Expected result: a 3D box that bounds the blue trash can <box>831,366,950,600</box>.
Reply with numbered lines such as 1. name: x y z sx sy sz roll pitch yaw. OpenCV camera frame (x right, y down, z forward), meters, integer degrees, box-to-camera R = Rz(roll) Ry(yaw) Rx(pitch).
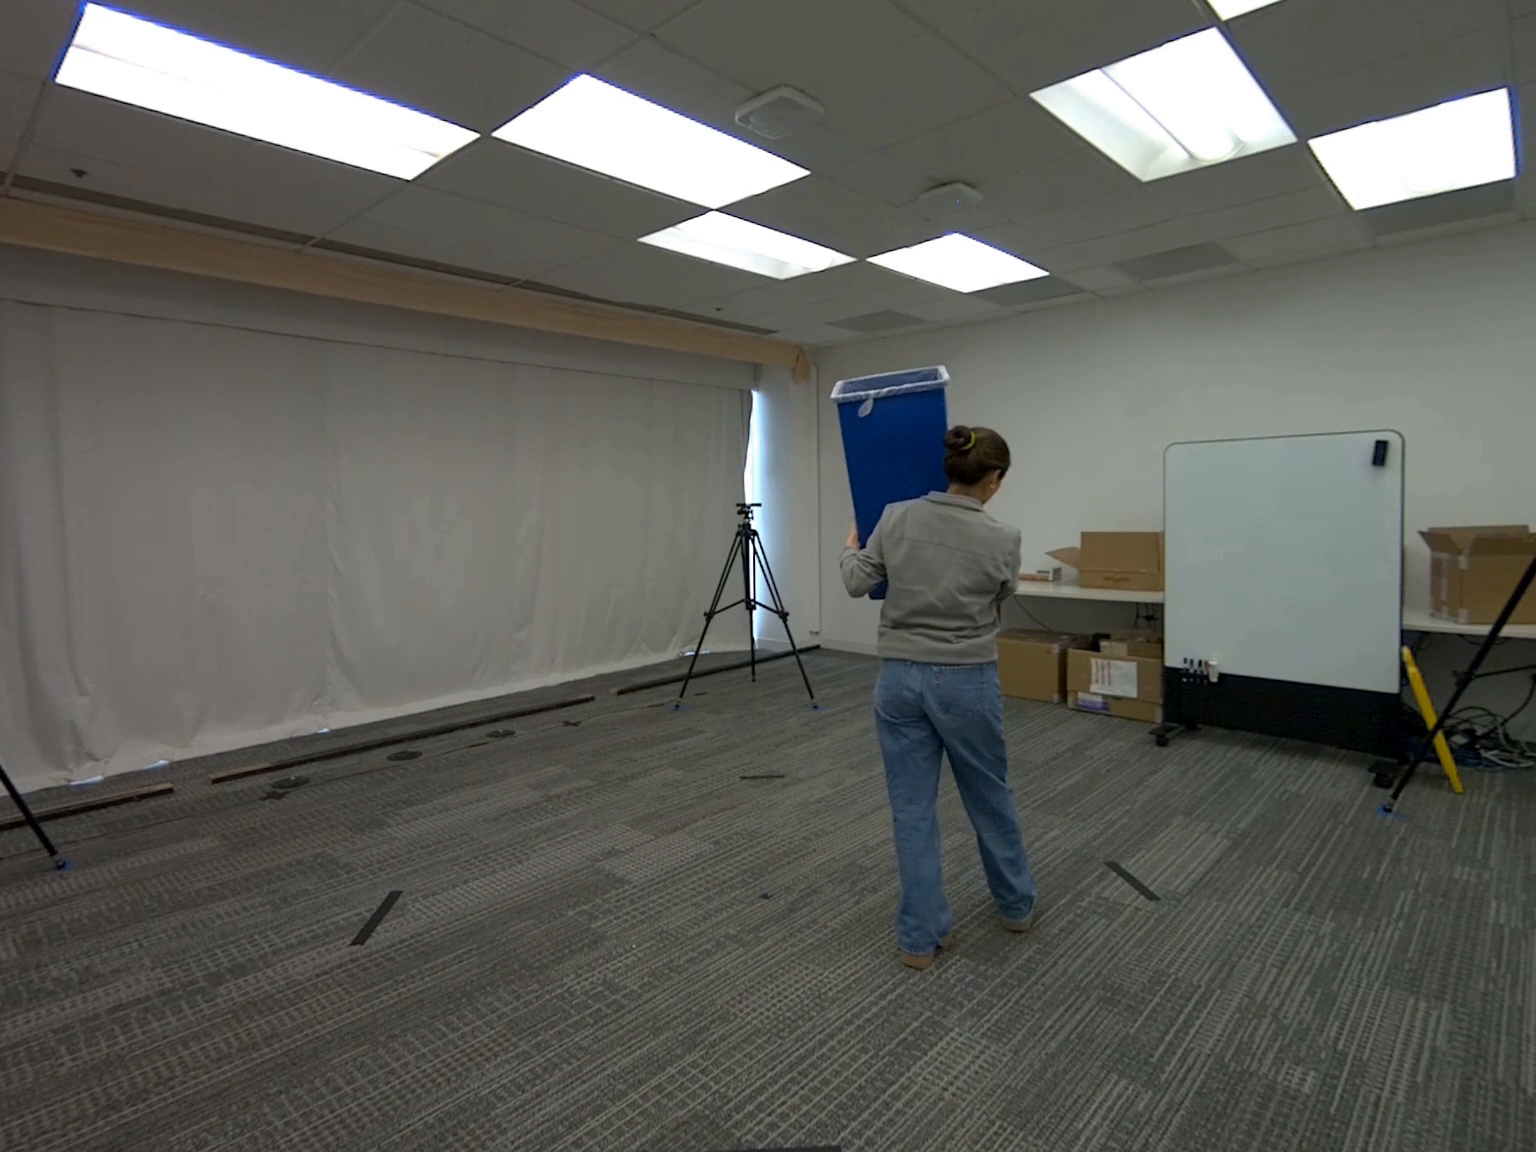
1. blue trash can: 0.462 -0.320 2.881 0.384 0.704 0.374 -5 18 14
